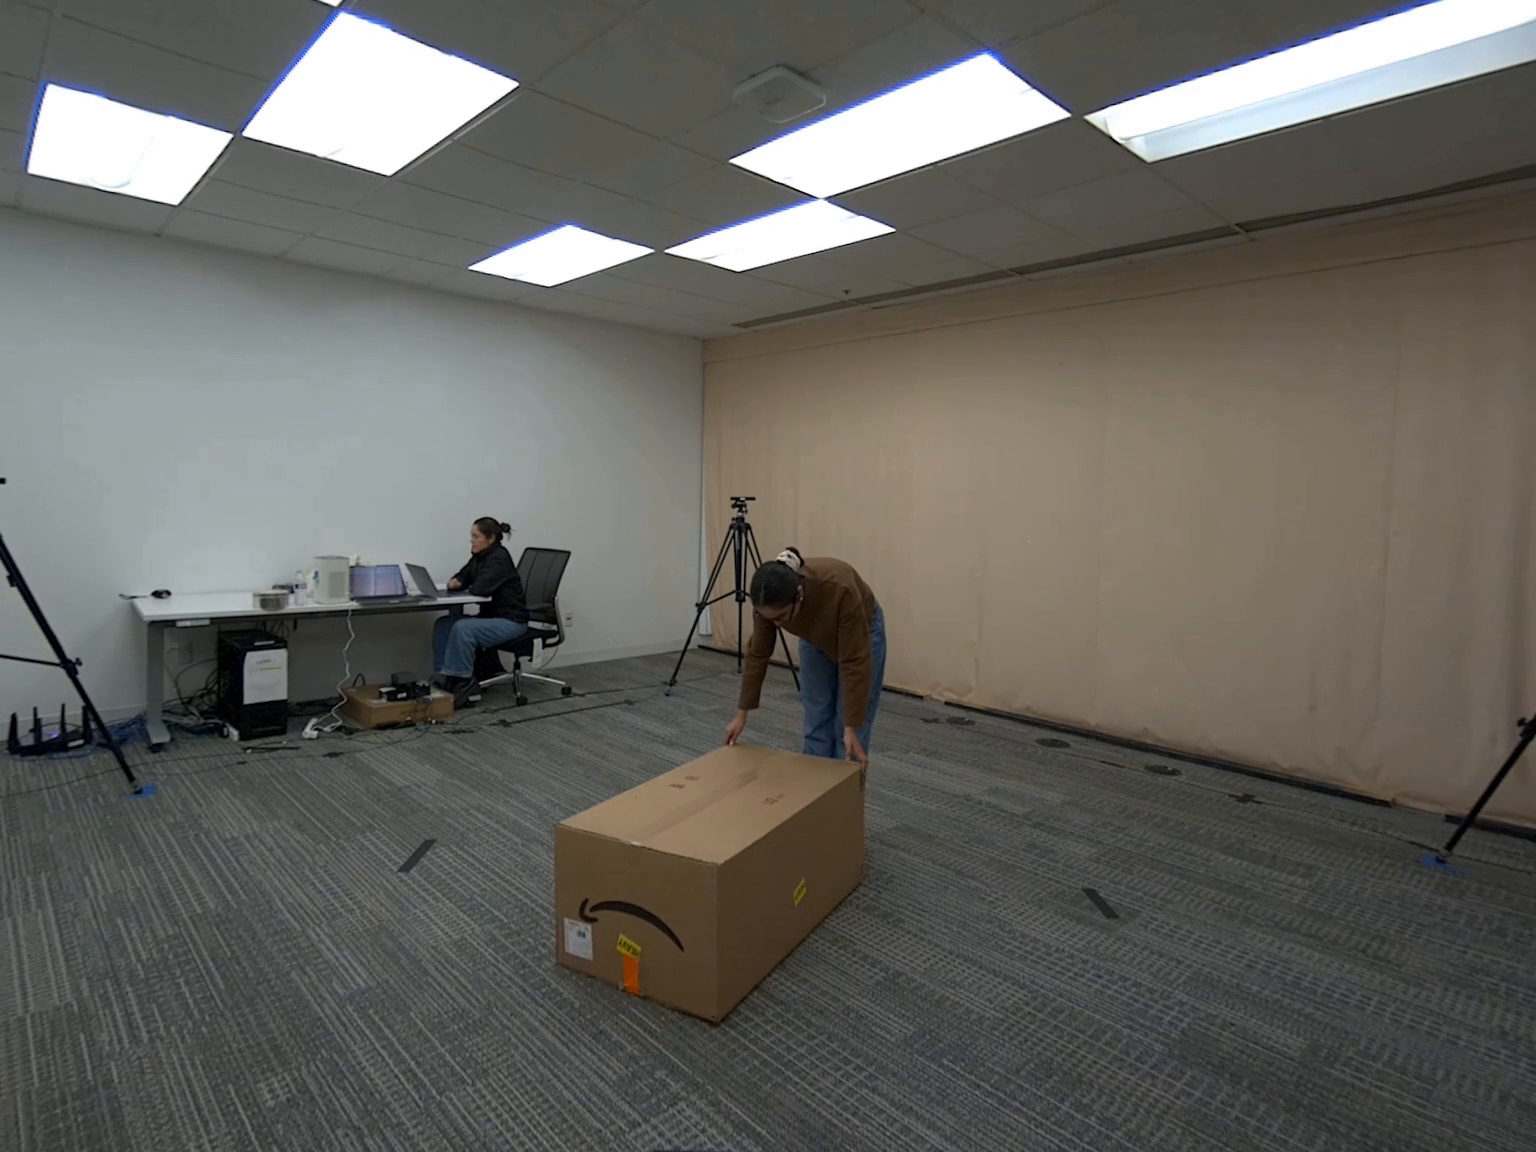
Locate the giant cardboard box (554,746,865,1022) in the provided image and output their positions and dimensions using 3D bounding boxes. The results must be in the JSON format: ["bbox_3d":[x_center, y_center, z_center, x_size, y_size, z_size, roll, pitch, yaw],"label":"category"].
[{"bbox_3d":[-0.145,0.923,2.772,0.597,0.445,1.008,4,6,29],"label":"giant cardboard box"}]
